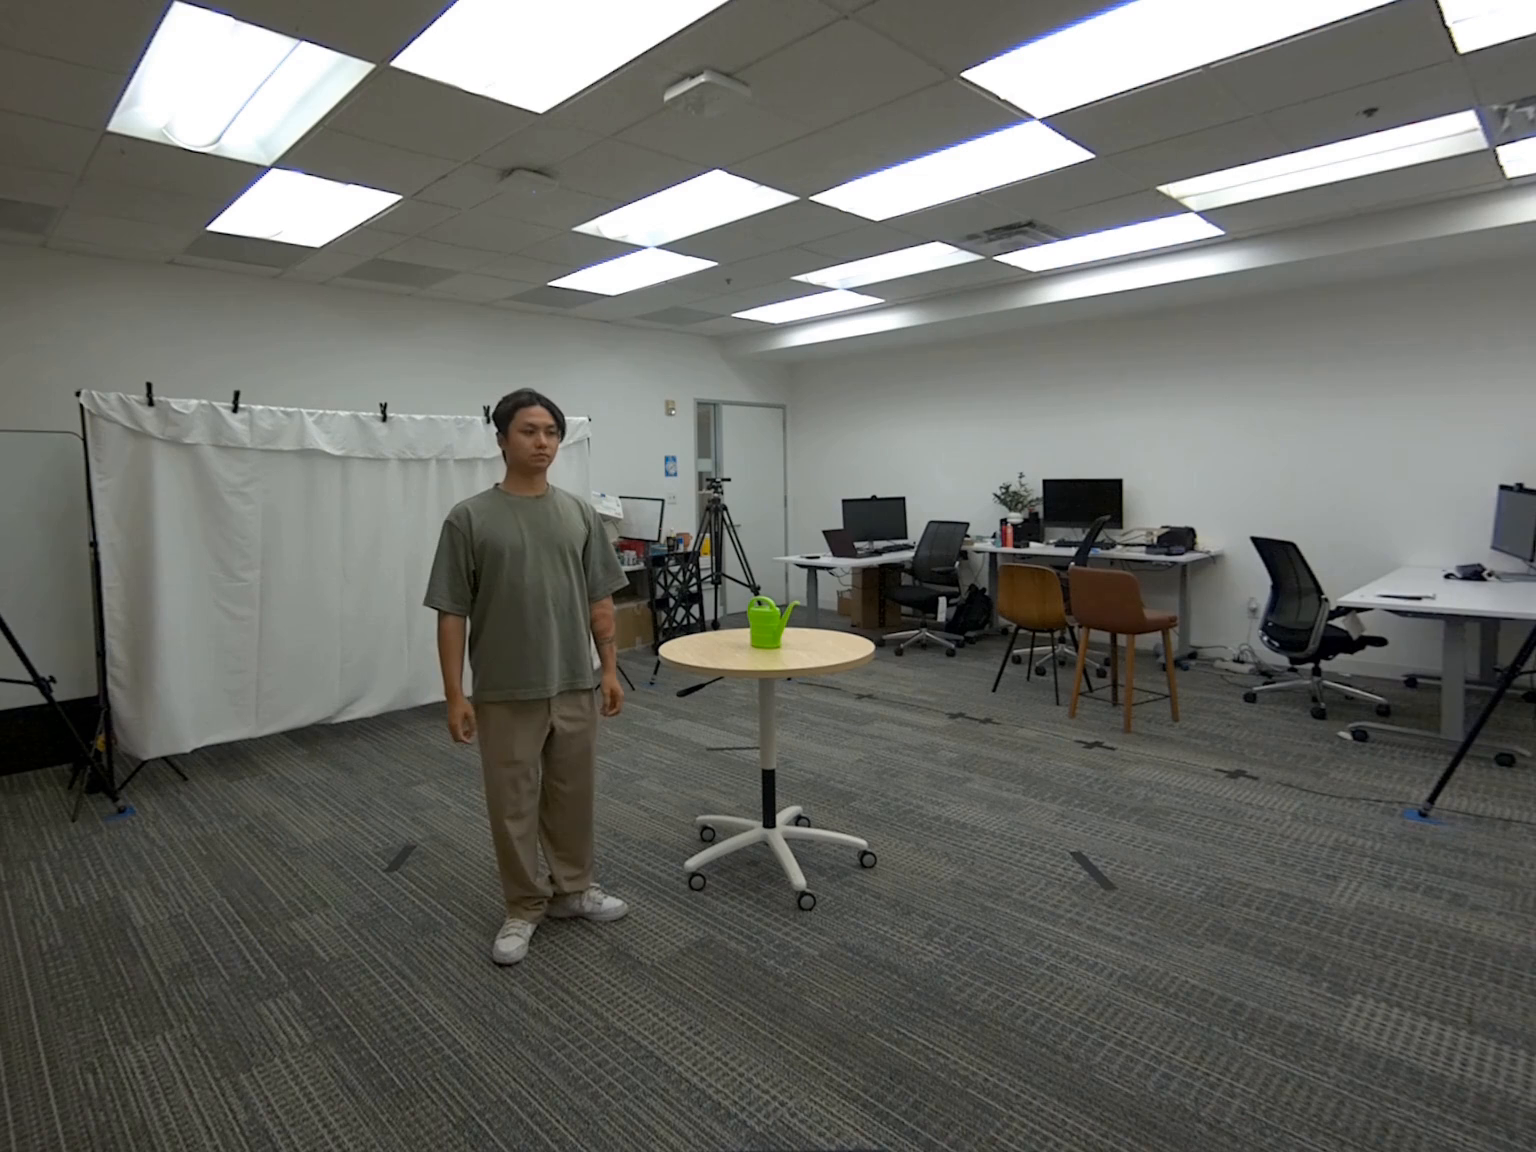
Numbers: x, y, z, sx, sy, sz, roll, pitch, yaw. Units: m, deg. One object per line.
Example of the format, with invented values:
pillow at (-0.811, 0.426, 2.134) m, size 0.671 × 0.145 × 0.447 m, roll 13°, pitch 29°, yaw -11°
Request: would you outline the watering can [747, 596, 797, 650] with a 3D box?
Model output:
watering can at (0.011, 0.167, 3.005) m, size 0.096 × 0.176 × 0.285 m, roll -3°, pitch 5°, yaw -24°
